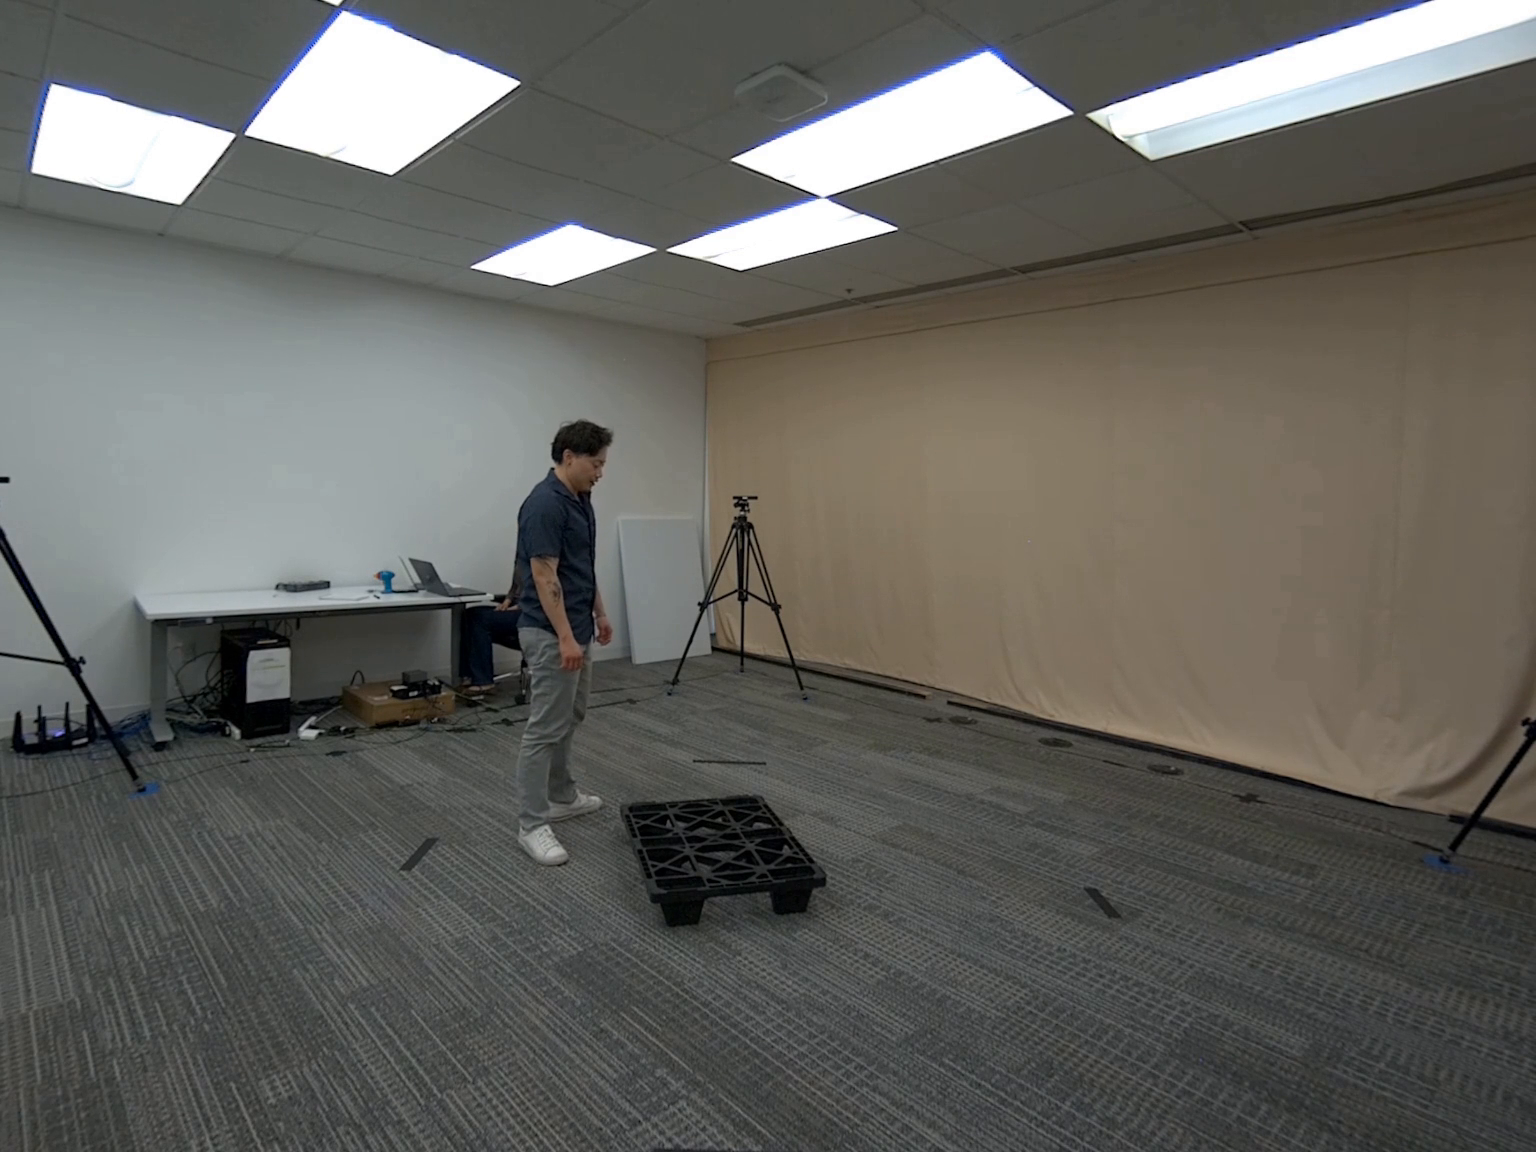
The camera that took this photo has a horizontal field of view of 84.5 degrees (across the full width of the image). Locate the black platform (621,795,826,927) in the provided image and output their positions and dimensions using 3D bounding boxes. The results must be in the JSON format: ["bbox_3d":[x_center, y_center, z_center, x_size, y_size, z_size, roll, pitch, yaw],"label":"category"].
[{"bbox_3d":[-0.207,1.030,3.125,0.598,0.143,0.818,0,6,-16],"label":"black platform"}]
